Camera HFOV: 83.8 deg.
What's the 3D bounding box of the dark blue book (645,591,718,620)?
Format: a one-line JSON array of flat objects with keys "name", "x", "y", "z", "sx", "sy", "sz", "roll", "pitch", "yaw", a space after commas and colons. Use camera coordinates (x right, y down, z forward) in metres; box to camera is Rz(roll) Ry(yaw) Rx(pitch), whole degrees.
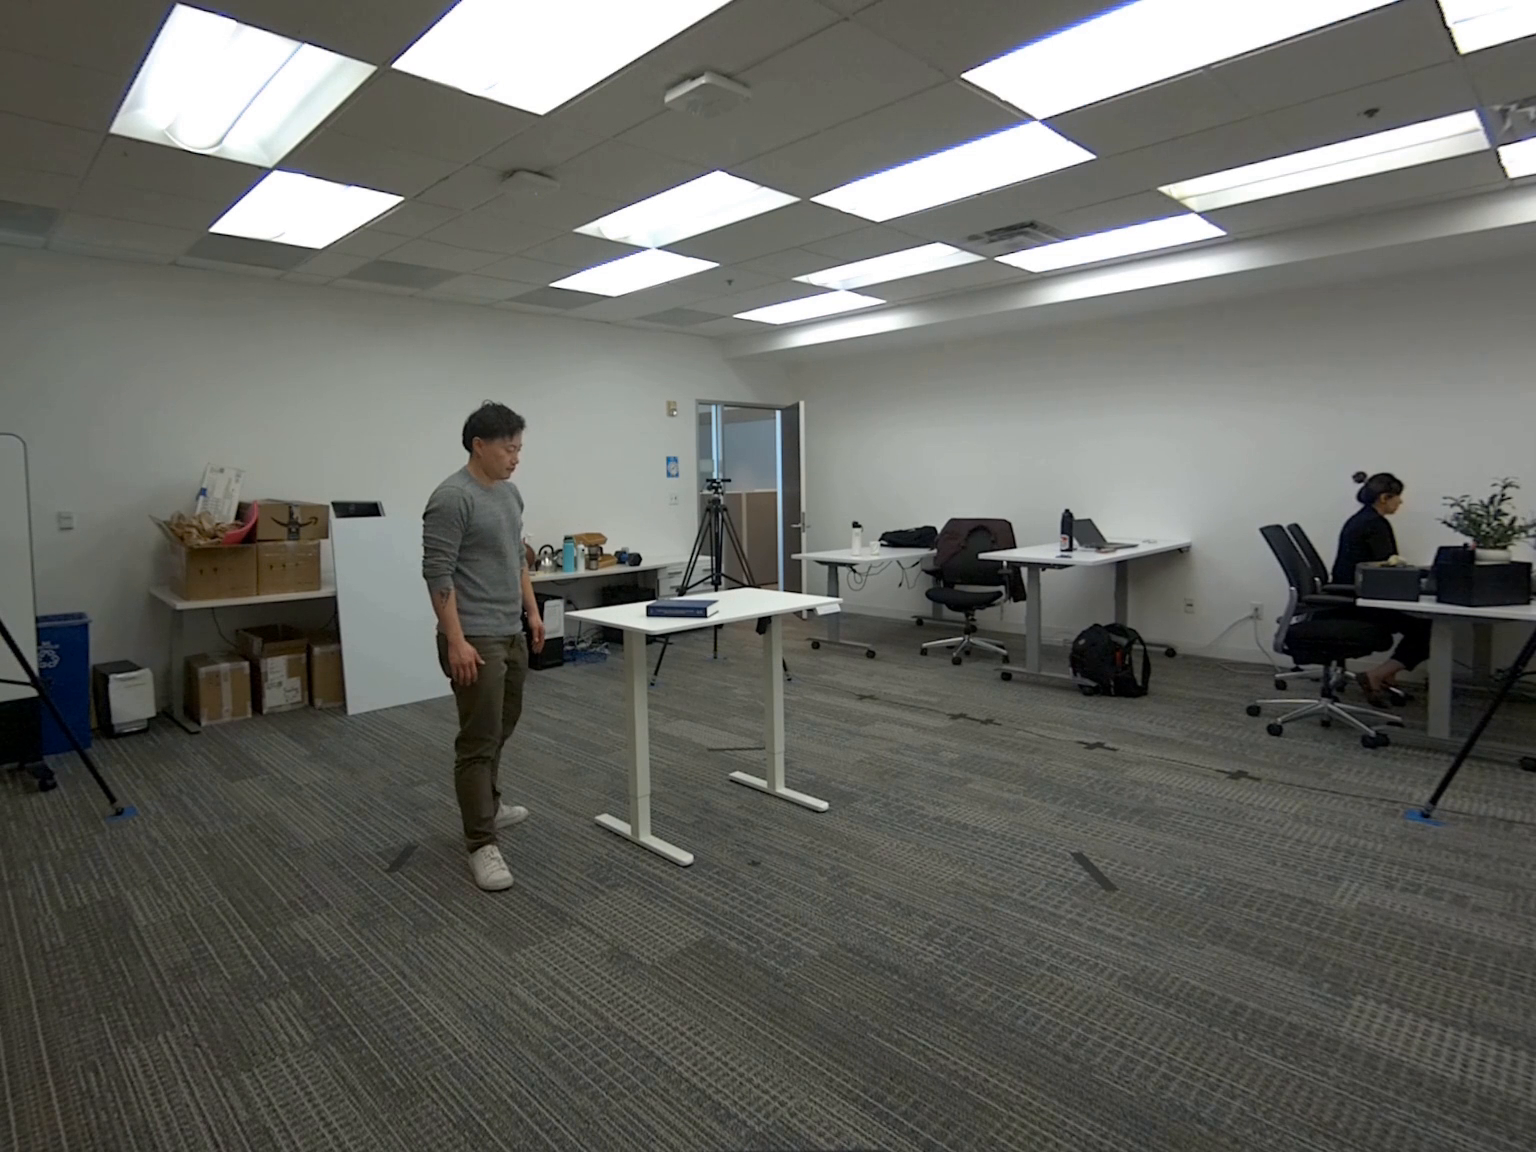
[{"name": "dark blue book", "x": -0.327, "y": 0.127, "z": 3.279, "sx": 0.249, "sy": 0.045, "sz": 0.162, "roll": 1, "pitch": 8, "yaw": 16}]
